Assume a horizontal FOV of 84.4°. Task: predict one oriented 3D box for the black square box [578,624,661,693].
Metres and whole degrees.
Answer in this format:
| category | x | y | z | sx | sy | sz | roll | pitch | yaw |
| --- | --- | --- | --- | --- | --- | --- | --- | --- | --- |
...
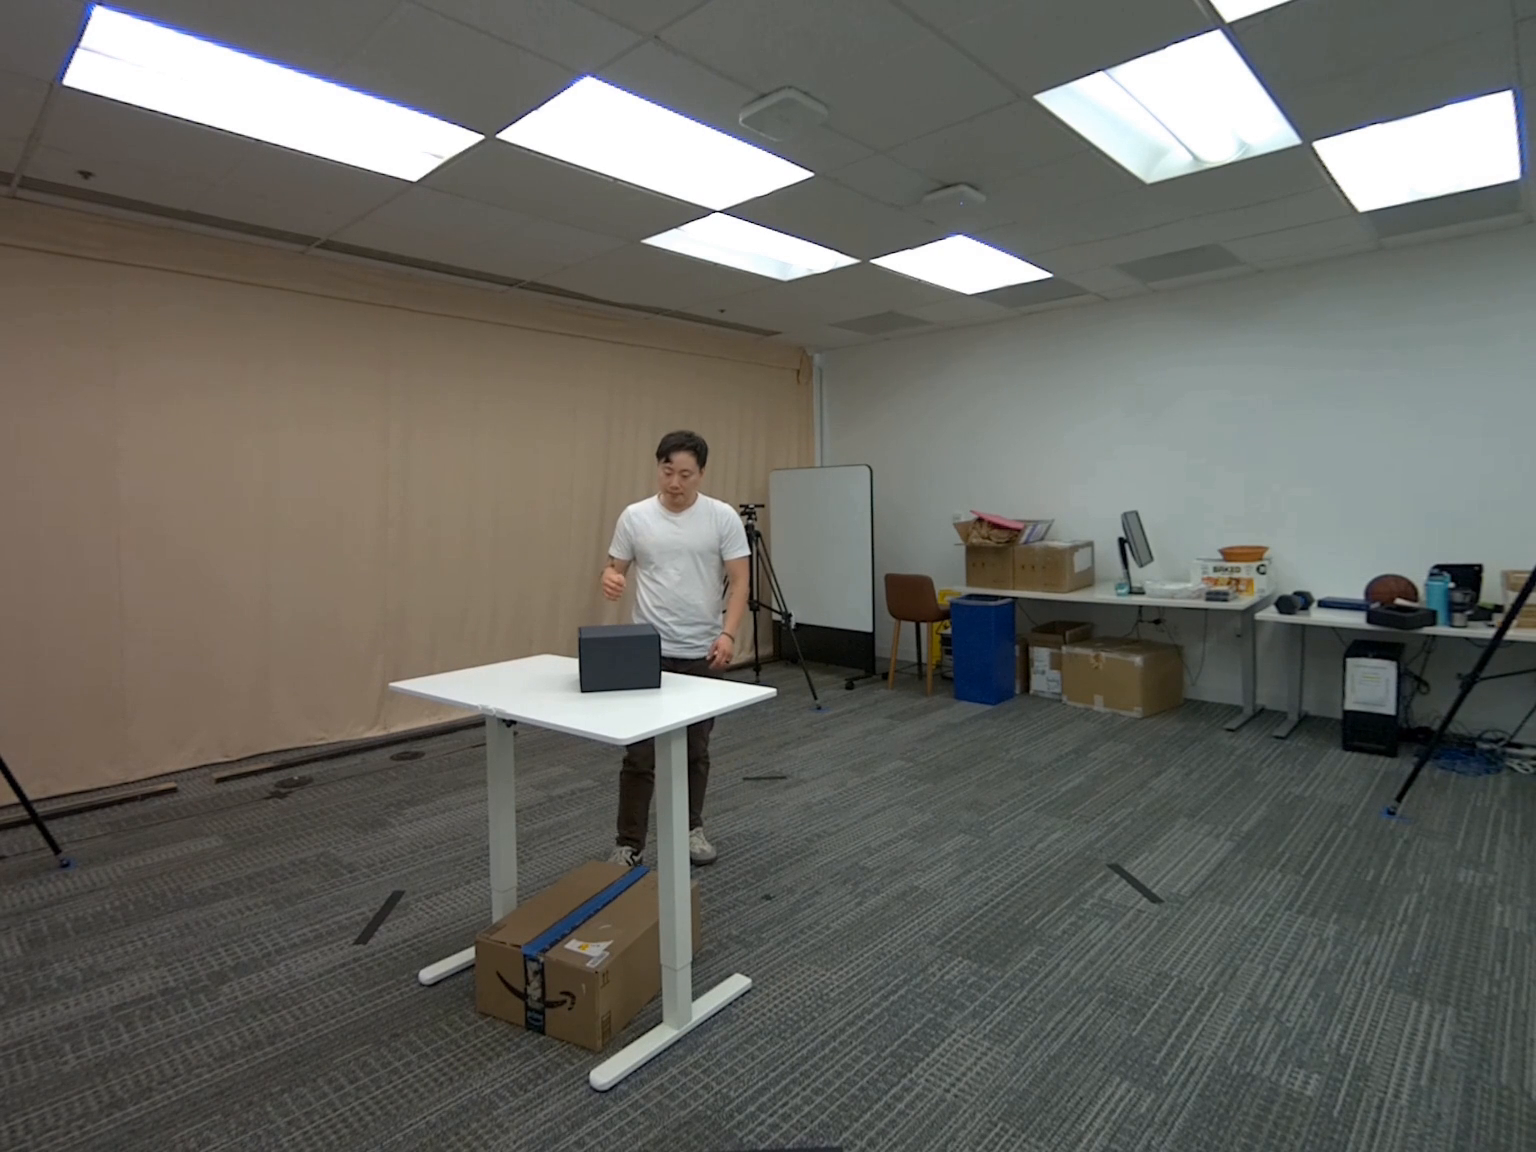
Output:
| category | x | y | z | sx | sy | sz | roll | pitch | yaw |
| --- | --- | --- | --- | --- | --- | --- | --- | --- | --- |
| black square box | -0.434 | 0.232 | 2.446 | 0.225 | 0.155 | 0.221 | -2 | 5 | -14 |
